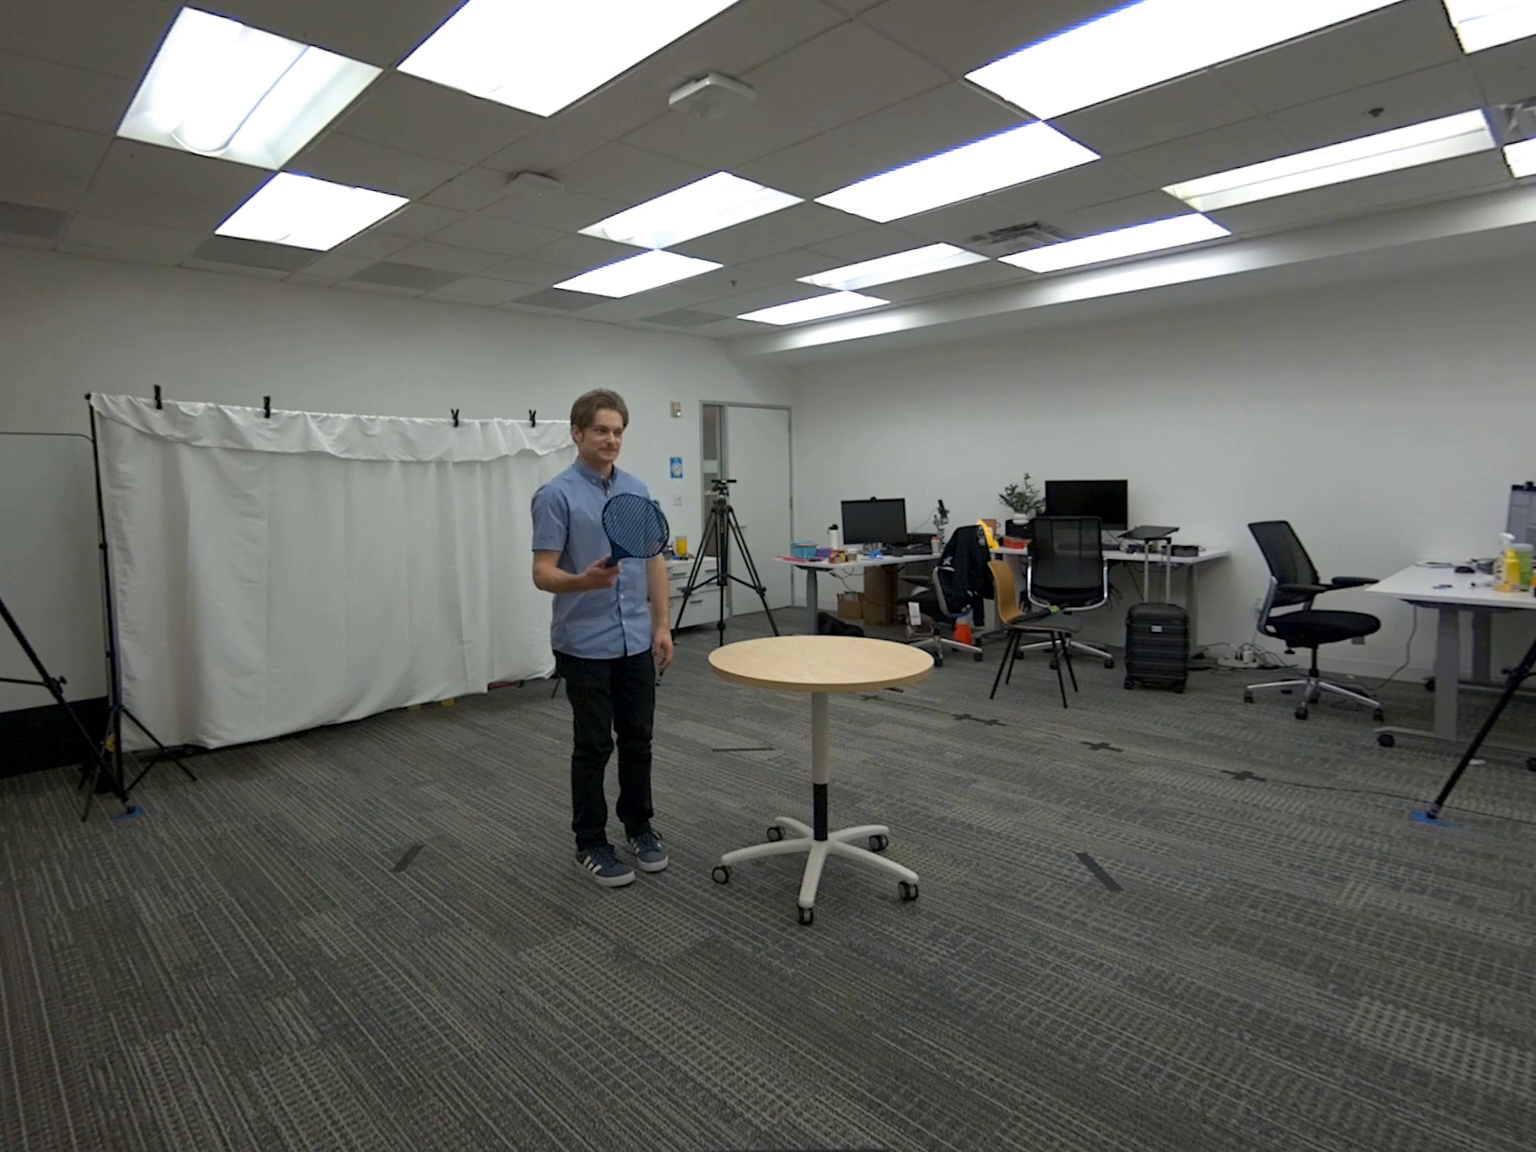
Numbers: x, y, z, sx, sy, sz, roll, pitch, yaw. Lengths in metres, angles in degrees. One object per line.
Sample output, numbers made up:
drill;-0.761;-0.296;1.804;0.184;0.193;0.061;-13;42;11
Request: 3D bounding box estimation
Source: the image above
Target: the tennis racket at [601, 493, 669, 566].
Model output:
tennis racket;-0.426;-0.094;2.546;0.433;0.213;0.032;-45;4;44
